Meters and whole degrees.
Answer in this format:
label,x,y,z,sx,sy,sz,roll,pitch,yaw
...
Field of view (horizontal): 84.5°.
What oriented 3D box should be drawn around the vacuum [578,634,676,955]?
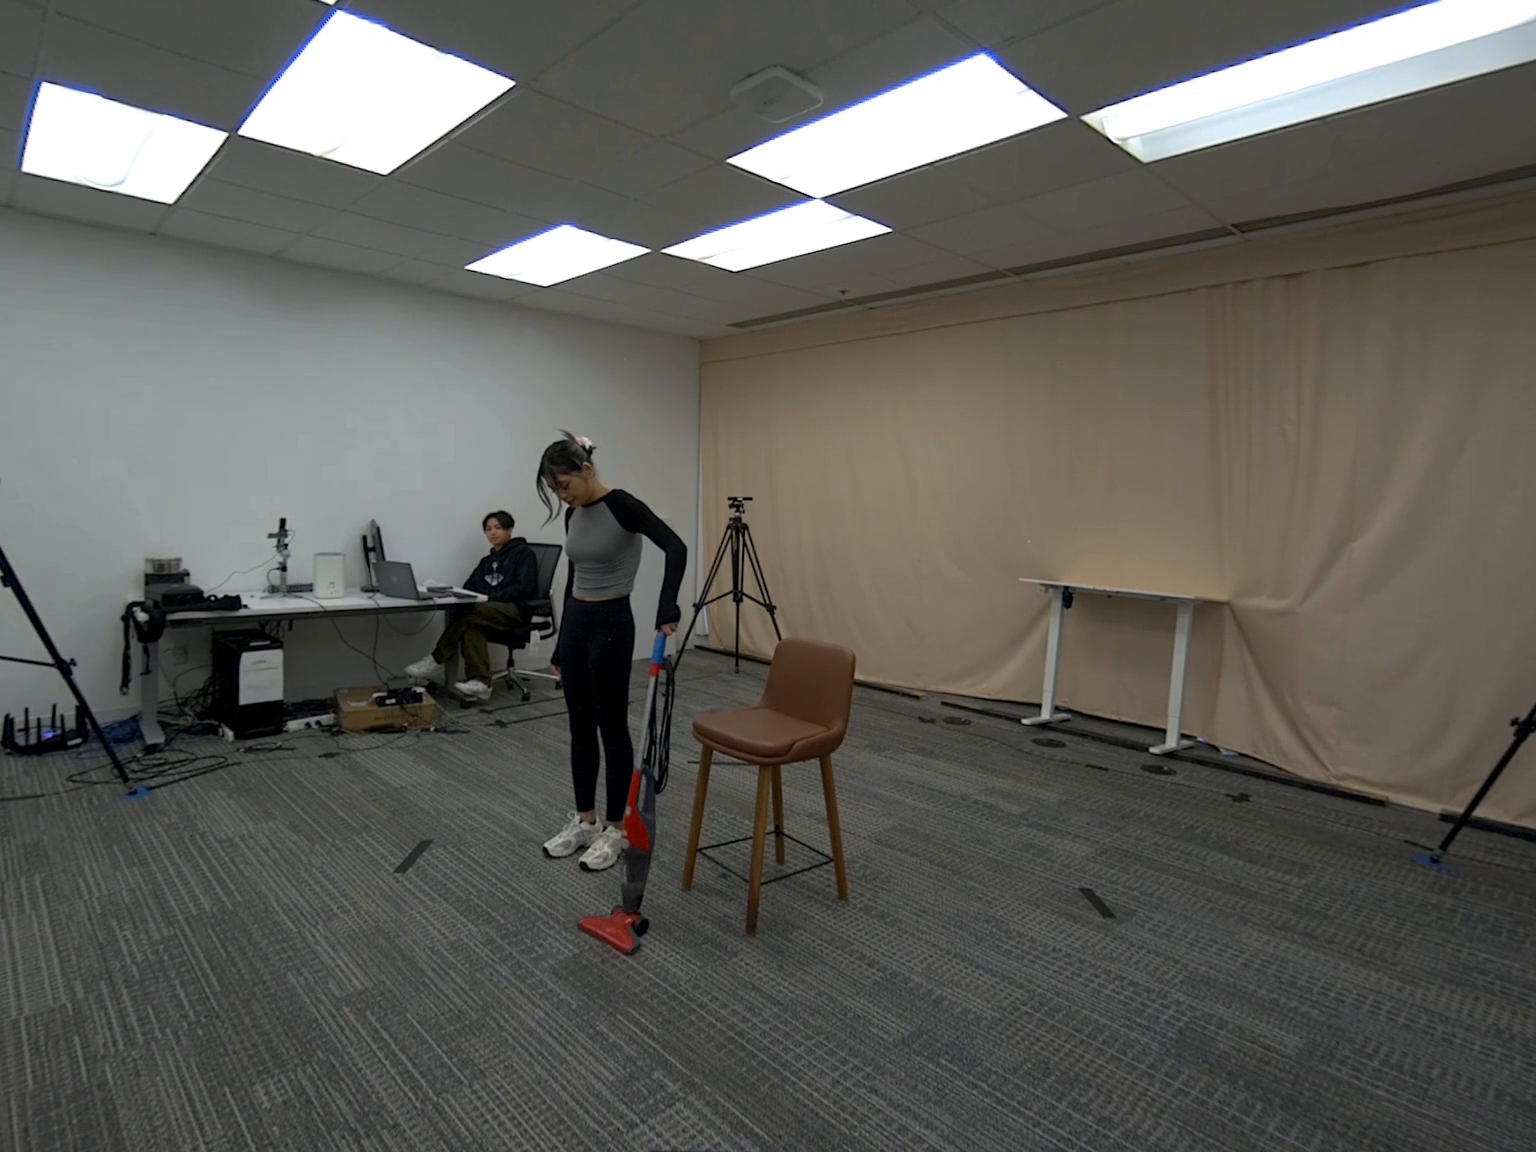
label,x,y,z,sx,sy,sz,roll,pitch,yaw
vacuum,-0.395,0.632,2.735,0.259,1.054,0.140,3,-9,42
